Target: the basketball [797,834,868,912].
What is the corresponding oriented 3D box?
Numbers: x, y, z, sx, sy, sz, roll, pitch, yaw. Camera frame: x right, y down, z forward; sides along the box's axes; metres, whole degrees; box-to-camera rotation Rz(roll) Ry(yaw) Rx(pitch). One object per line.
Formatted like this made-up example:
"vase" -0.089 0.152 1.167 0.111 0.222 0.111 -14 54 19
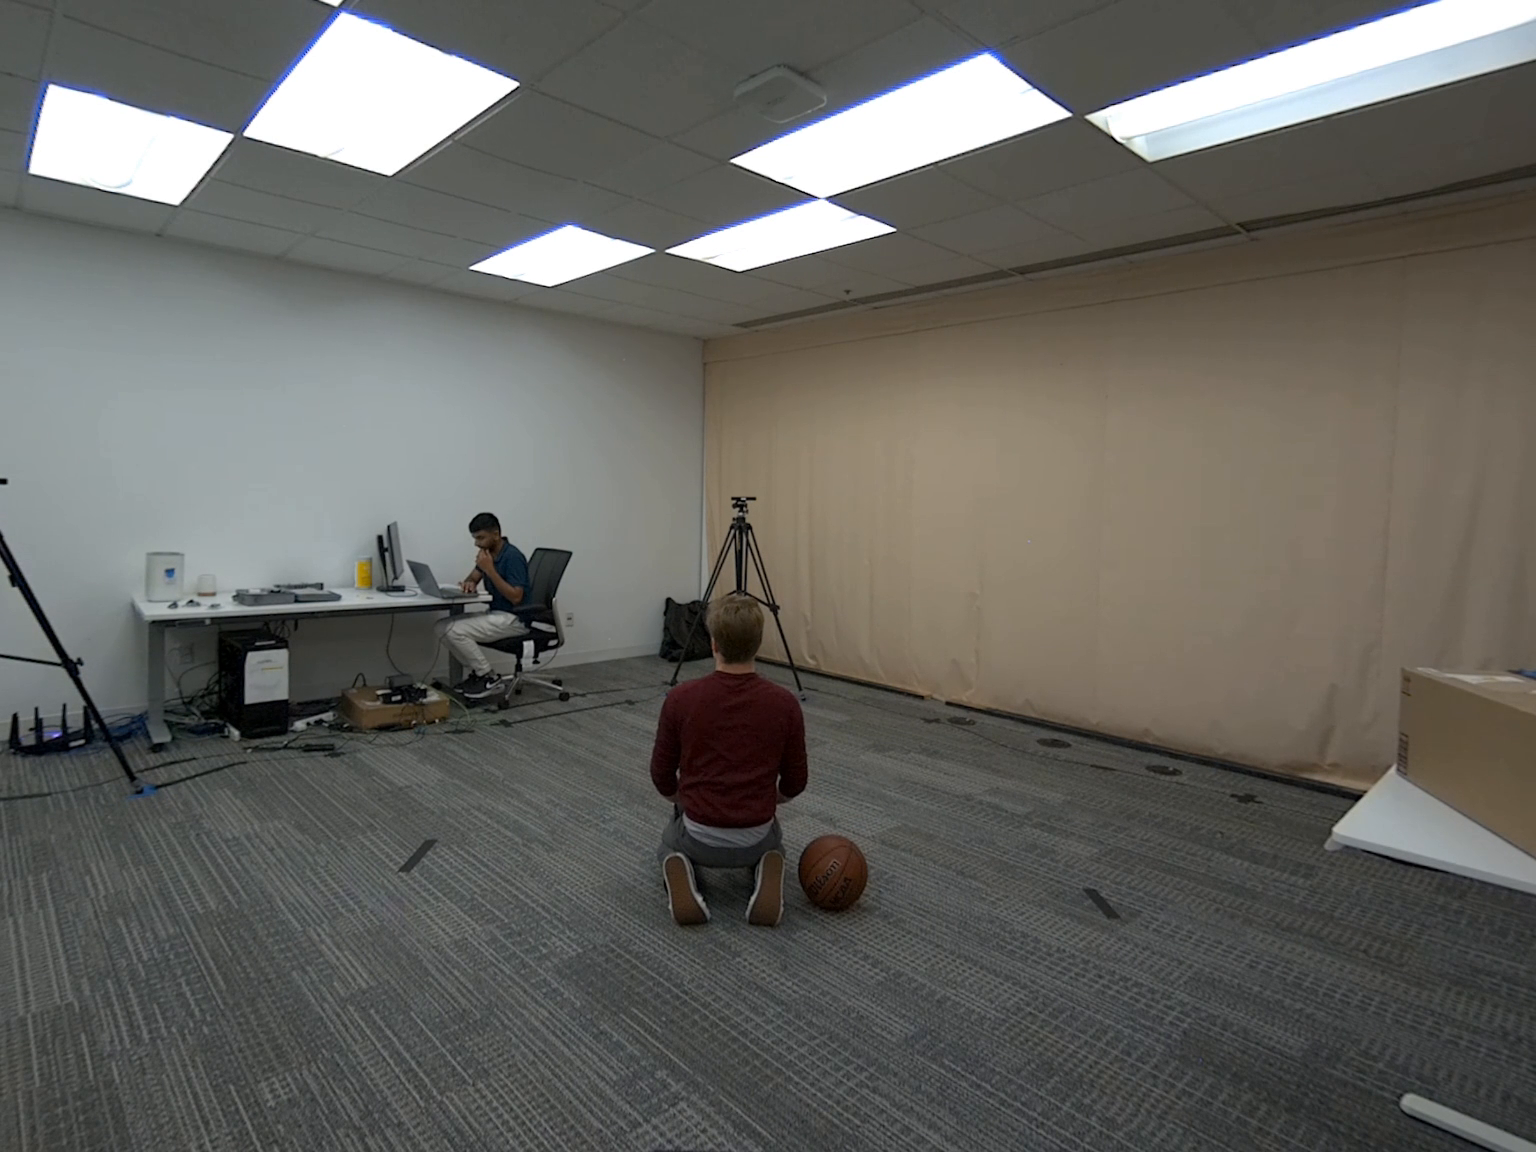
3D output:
"basketball" 0.217 1.012 2.885 0.236 0.235 0.237 1 4 -1
